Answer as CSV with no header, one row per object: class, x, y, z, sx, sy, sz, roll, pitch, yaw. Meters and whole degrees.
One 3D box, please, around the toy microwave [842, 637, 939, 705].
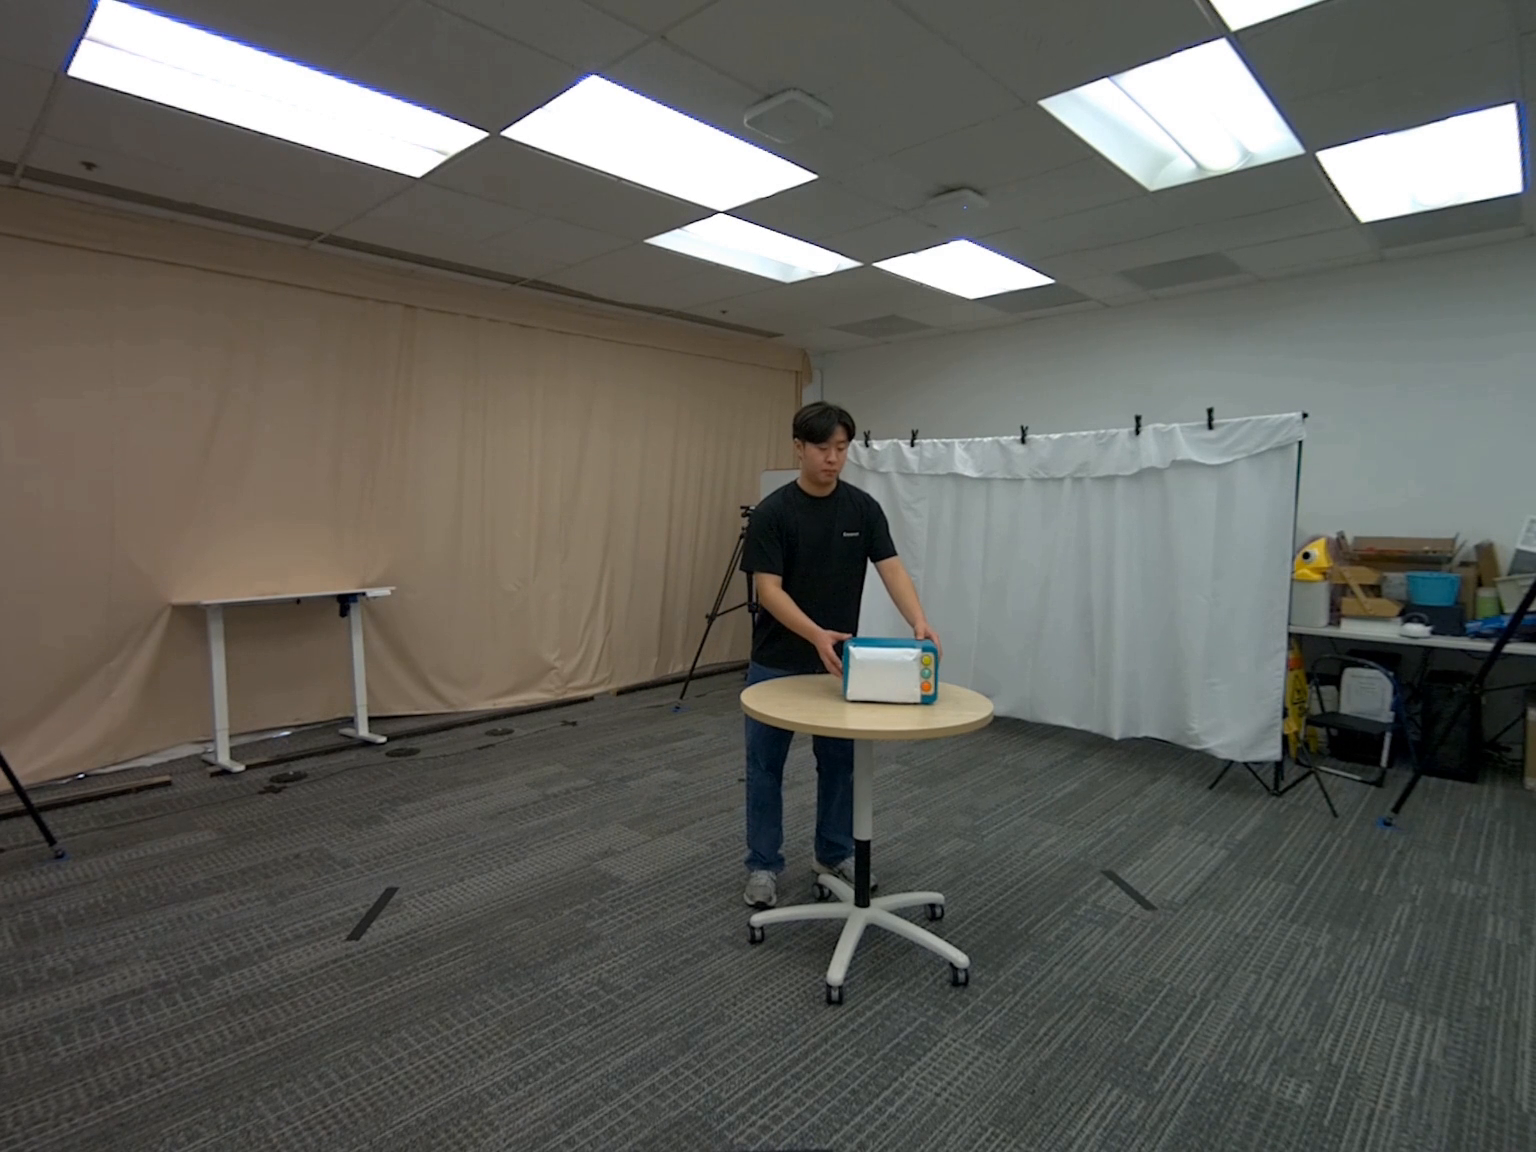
toy microwave,0.380,0.291,2.568,0.288,0.184,0.151,1,3,6
